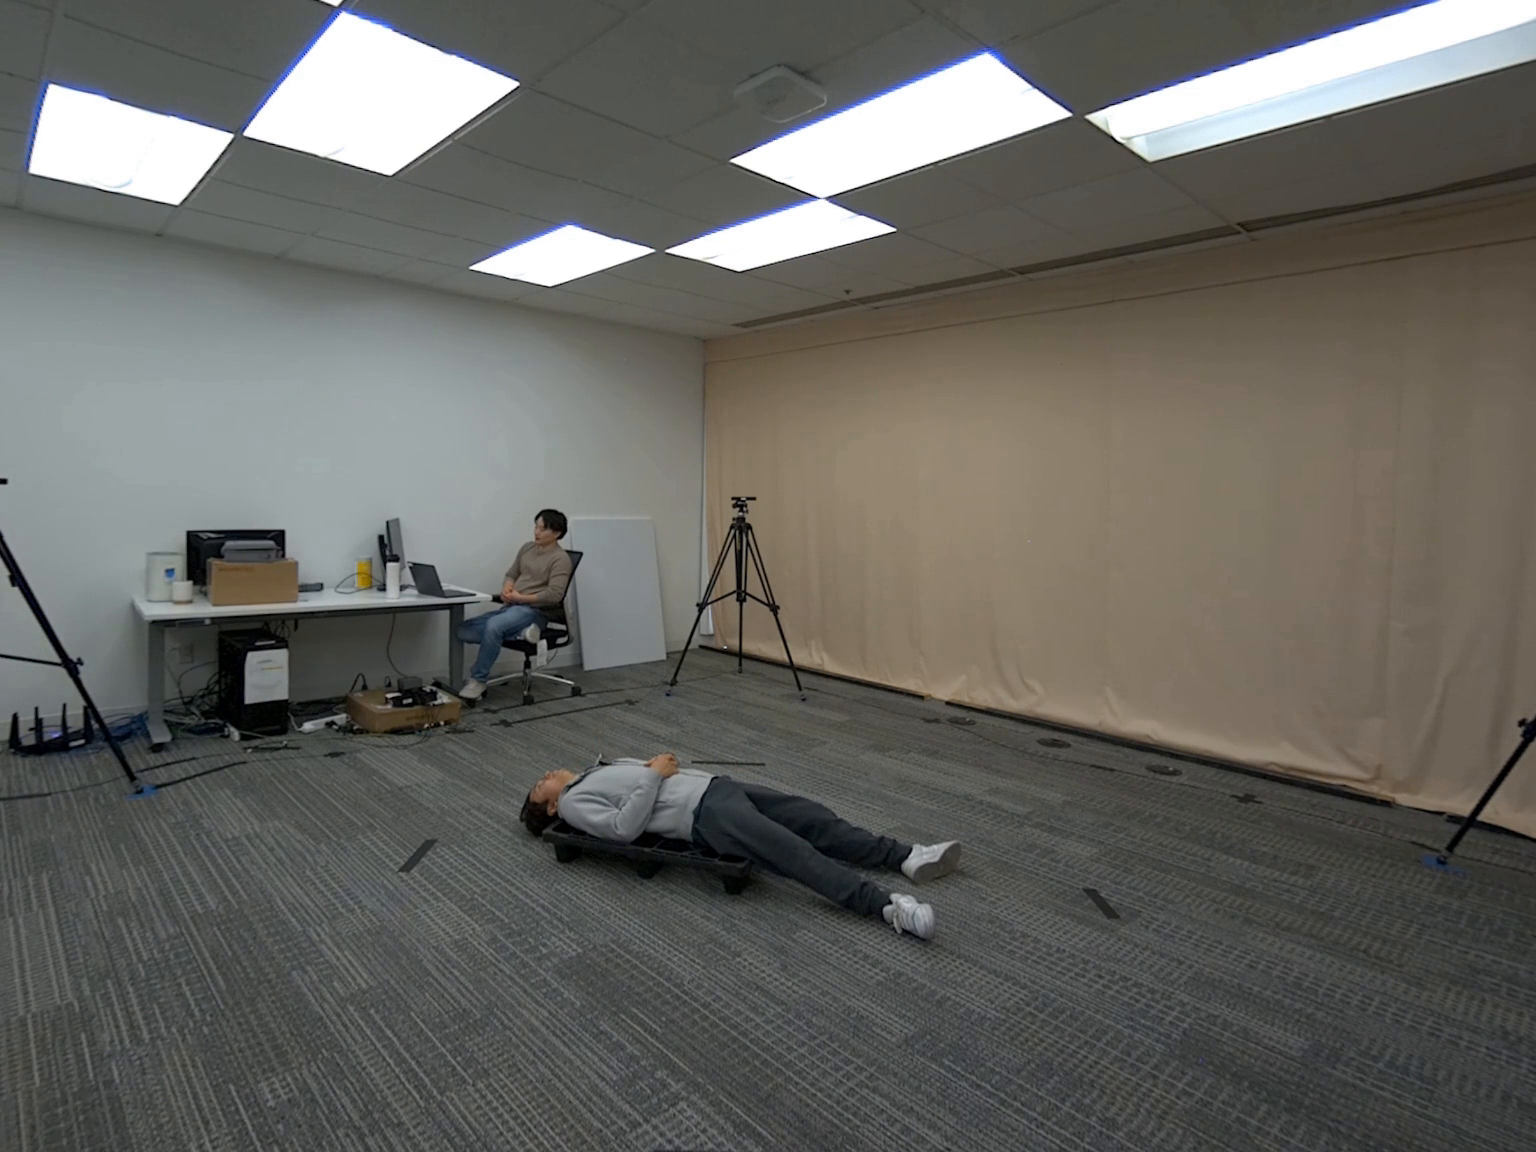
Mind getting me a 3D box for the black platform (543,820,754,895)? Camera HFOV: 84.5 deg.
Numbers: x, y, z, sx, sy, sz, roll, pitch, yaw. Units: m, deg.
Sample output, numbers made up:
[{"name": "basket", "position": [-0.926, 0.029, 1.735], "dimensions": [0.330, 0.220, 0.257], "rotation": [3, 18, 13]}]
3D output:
[{"name": "black platform", "position": [-0.390, 1.015, 3.288], "dimensions": [0.818, 0.143, 0.598], "rotation": [1, 5, 19]}]
